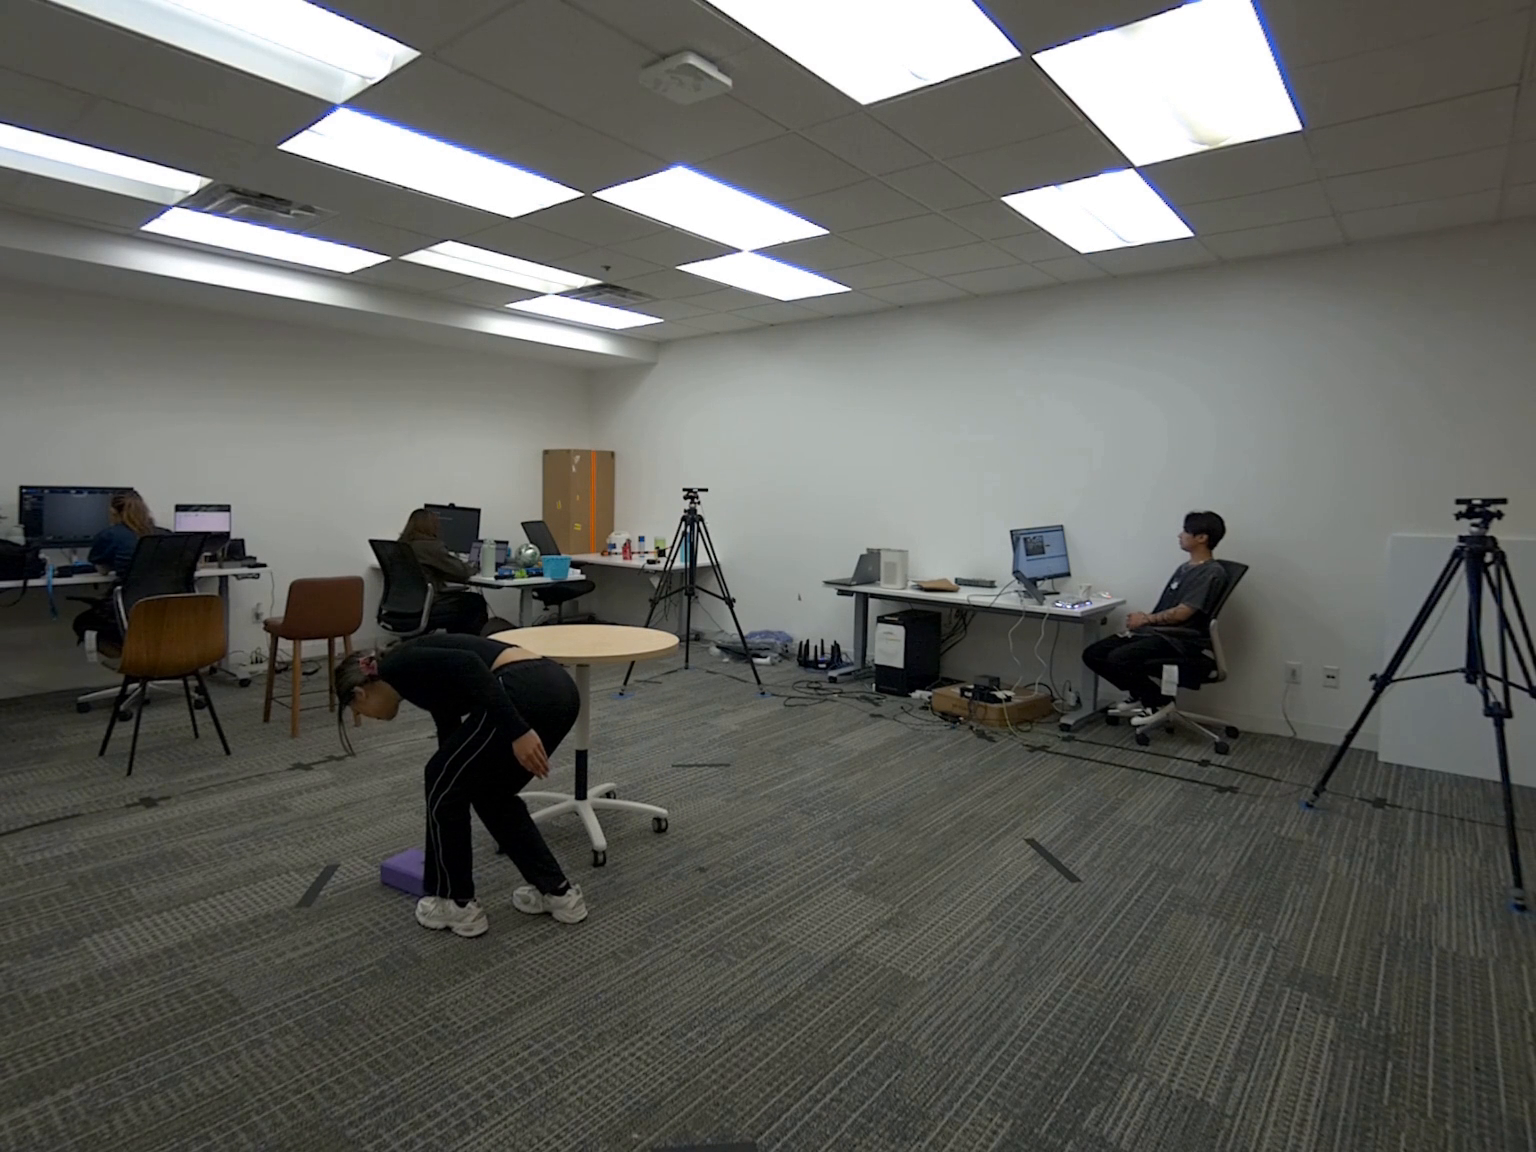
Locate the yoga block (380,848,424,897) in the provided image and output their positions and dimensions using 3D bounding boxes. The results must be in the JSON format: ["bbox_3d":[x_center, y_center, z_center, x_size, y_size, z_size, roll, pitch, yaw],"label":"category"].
[{"bbox_3d":[-1.238,1.031,2.960,0.236,0.076,0.145,3,7,30],"label":"yoga block"}]
